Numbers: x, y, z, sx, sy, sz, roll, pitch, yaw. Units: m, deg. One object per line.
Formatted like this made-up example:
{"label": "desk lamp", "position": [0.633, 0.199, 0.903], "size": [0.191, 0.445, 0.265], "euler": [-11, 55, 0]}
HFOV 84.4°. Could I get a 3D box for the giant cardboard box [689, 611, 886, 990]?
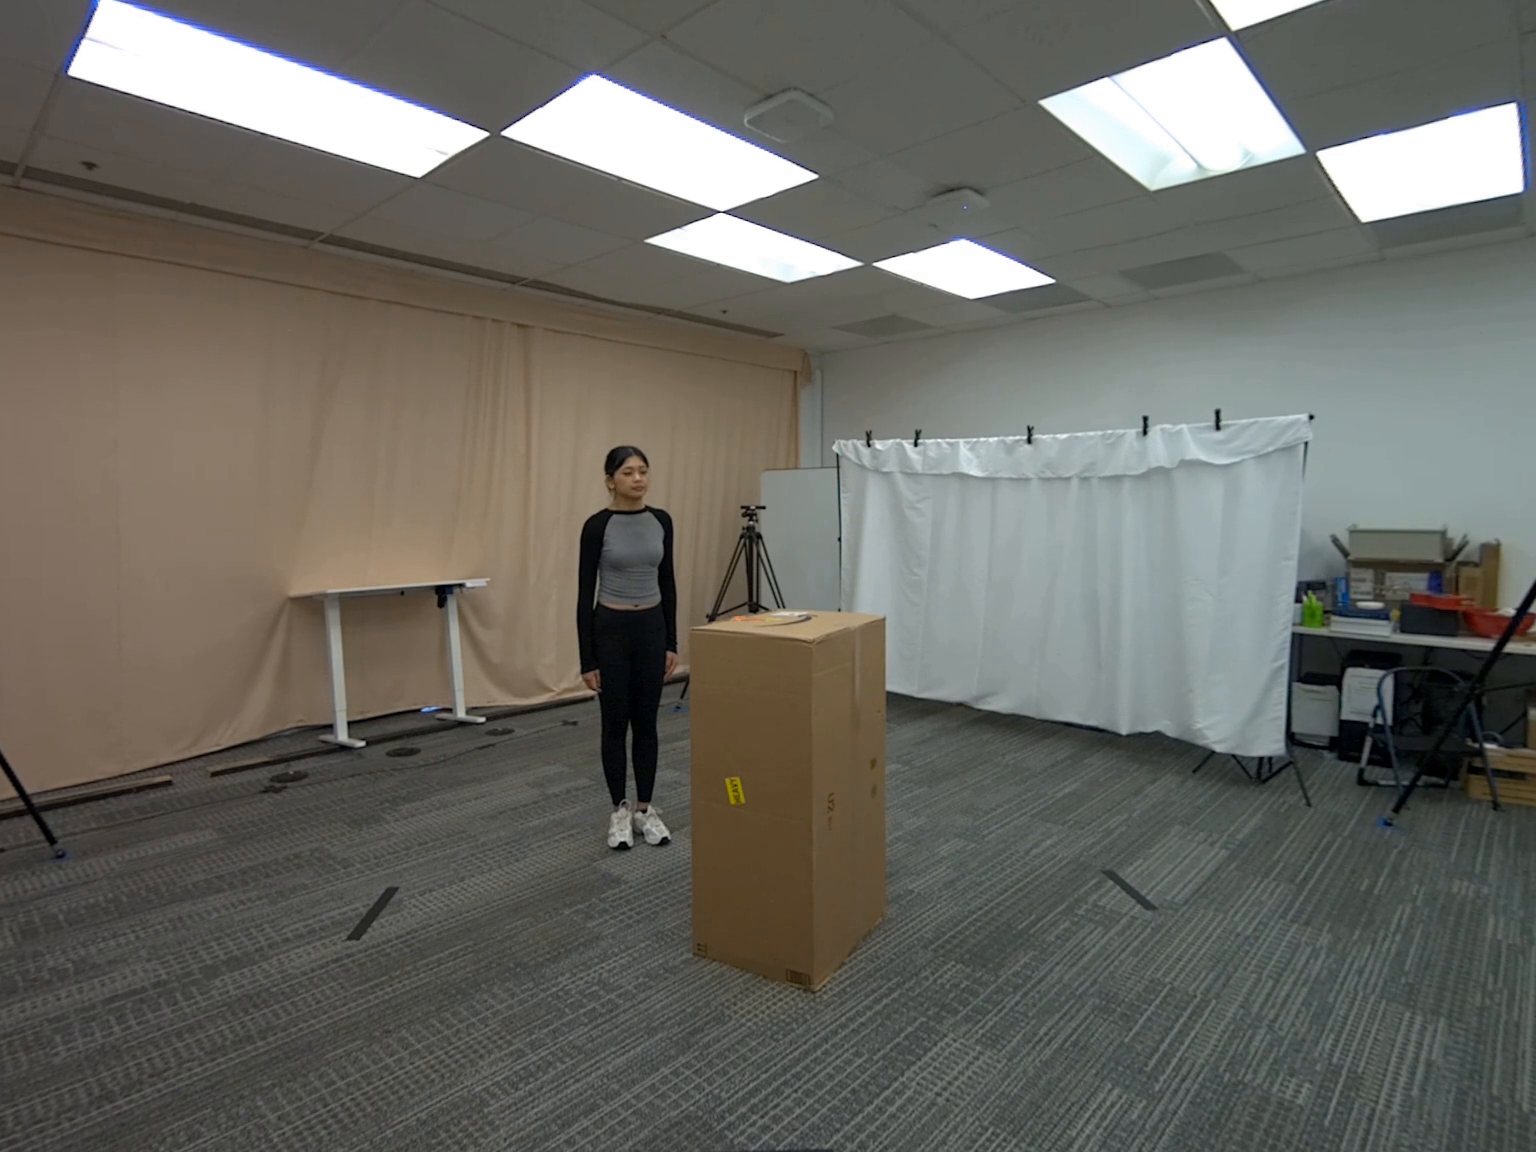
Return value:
{"label": "giant cardboard box", "position": [0.081, 0.656, 2.727], "size": [0.439, 1.024, 0.562], "euler": [1, 3, 31]}
